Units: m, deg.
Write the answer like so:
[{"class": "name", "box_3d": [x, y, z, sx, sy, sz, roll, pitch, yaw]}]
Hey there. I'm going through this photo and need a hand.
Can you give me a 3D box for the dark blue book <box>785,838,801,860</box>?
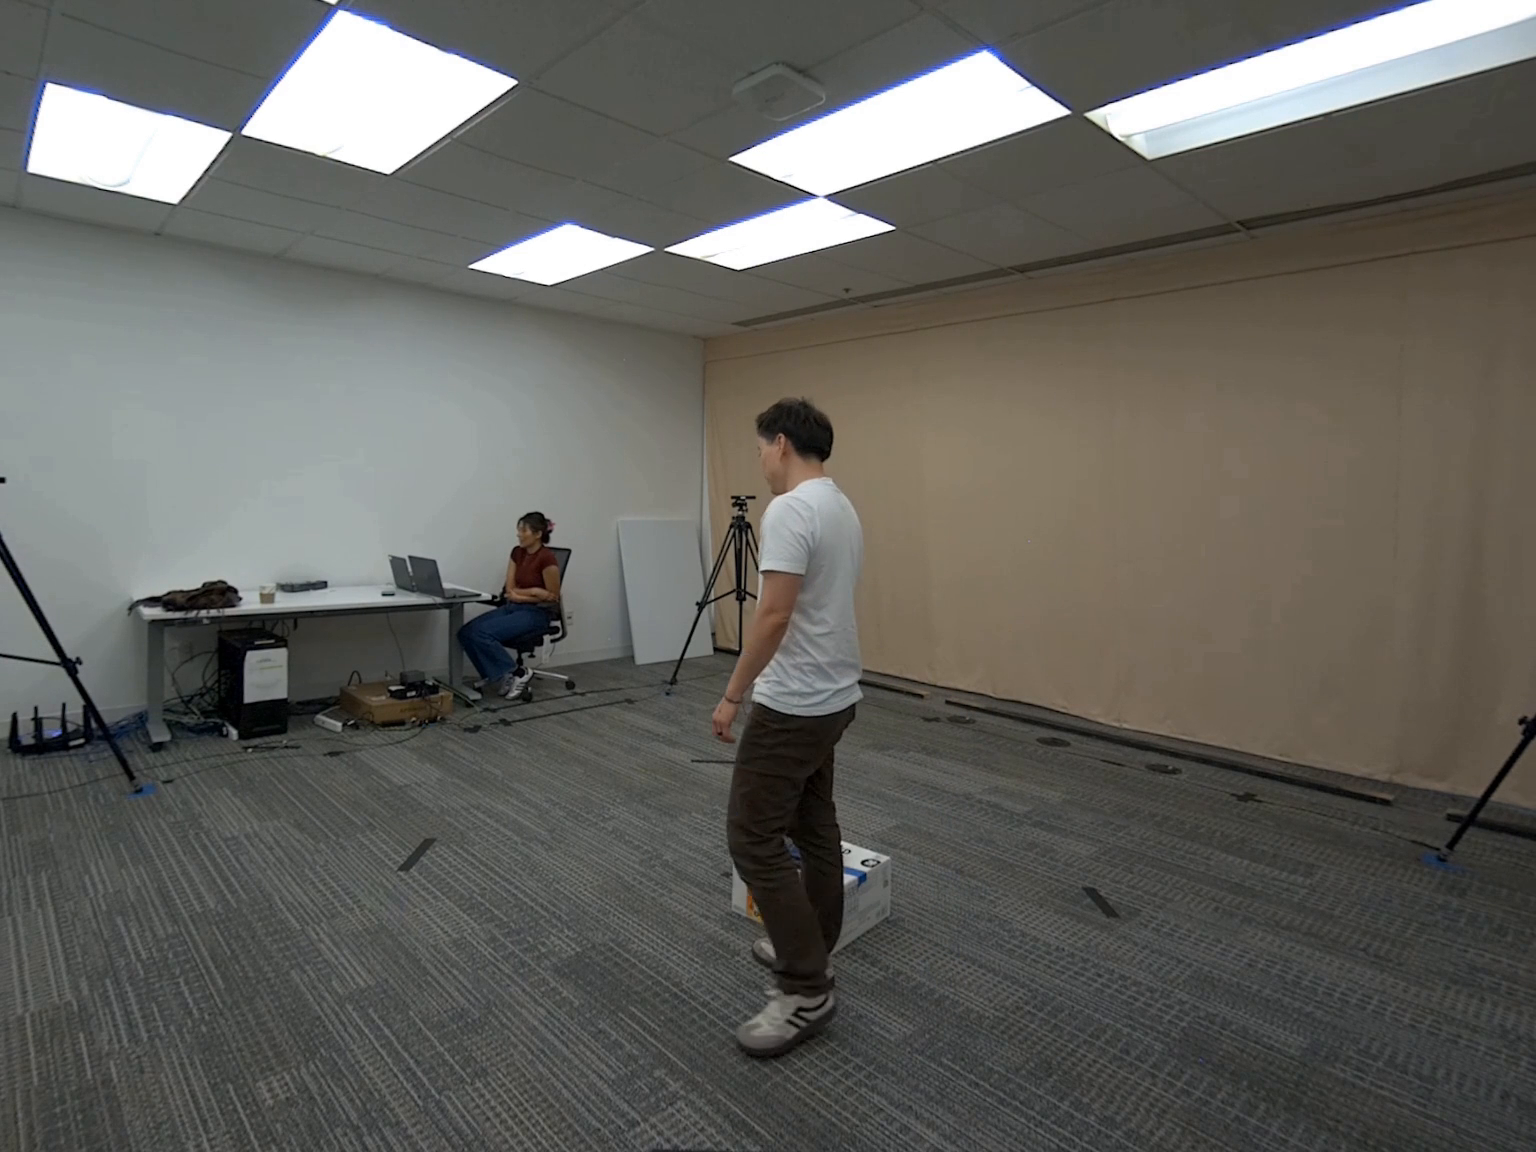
[{"class": "dark blue book", "box_3d": [0.114, 0.930, 2.783, 0.250, 0.045, 0.160, 5, 5, 26]}]
